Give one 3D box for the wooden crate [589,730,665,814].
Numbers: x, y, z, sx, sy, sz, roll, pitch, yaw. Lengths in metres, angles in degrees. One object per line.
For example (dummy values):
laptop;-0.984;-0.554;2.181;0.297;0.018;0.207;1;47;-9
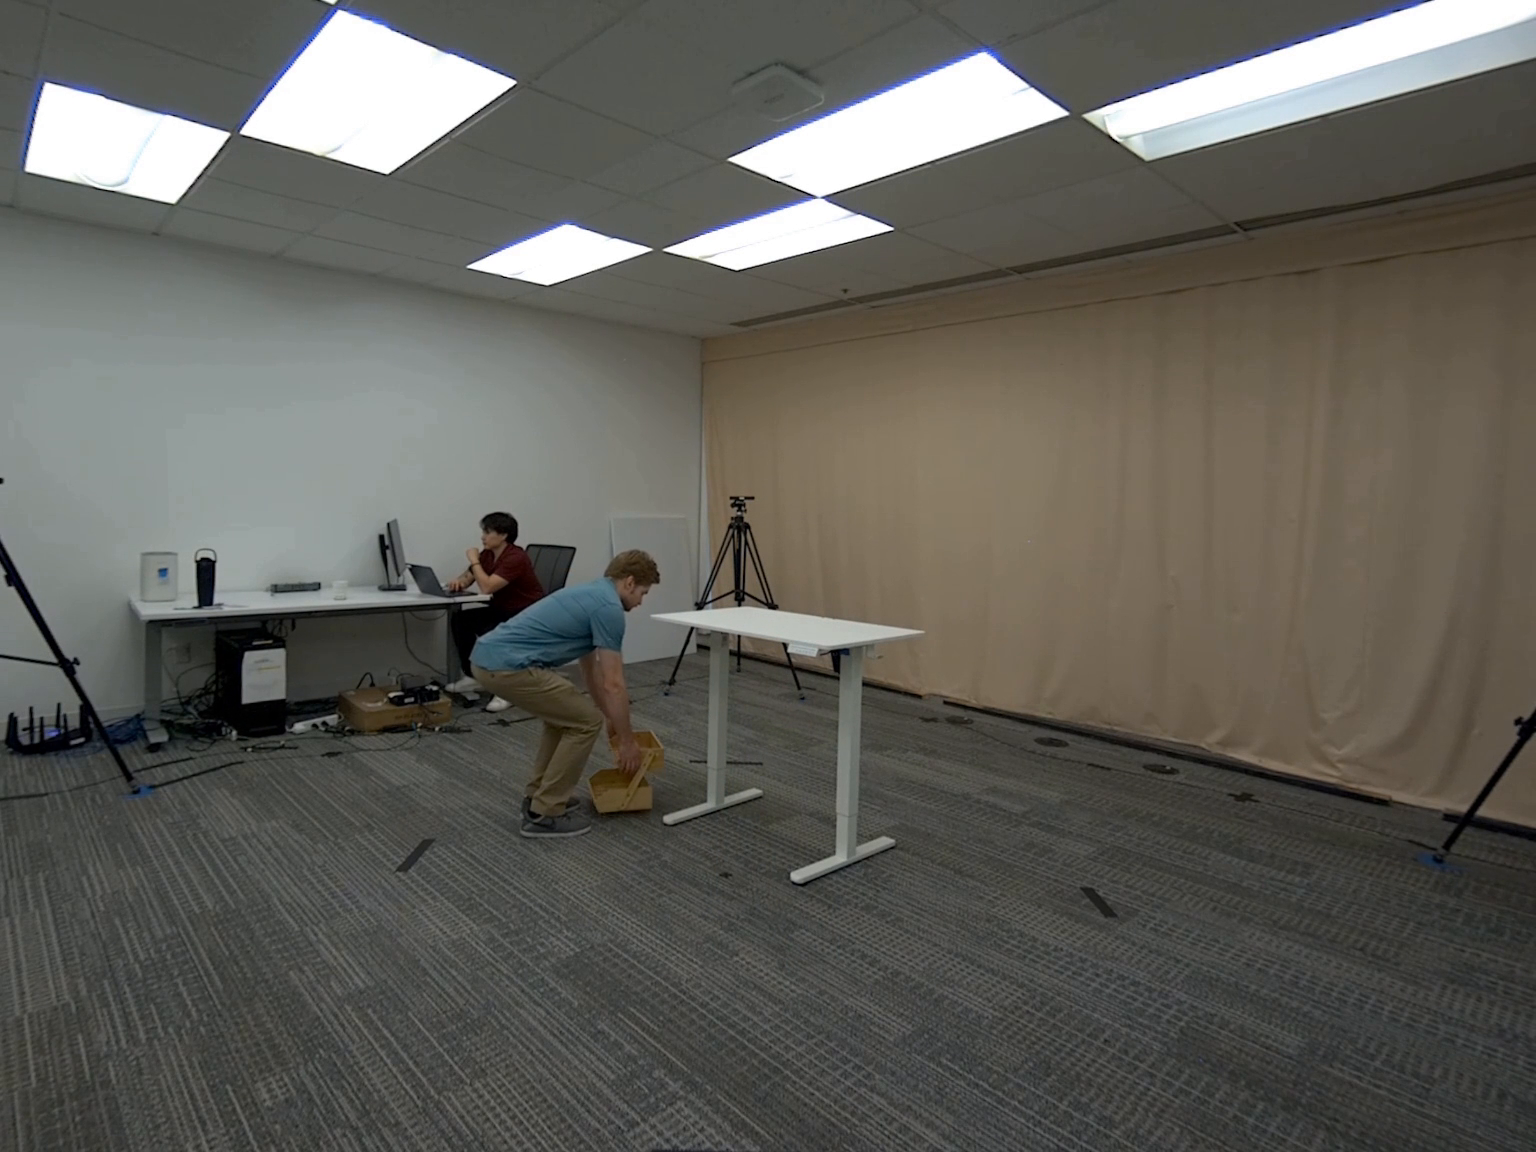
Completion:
wooden crate;-0.658;0.856;3.764;0.298;0.272;0.330;0;5;-17
